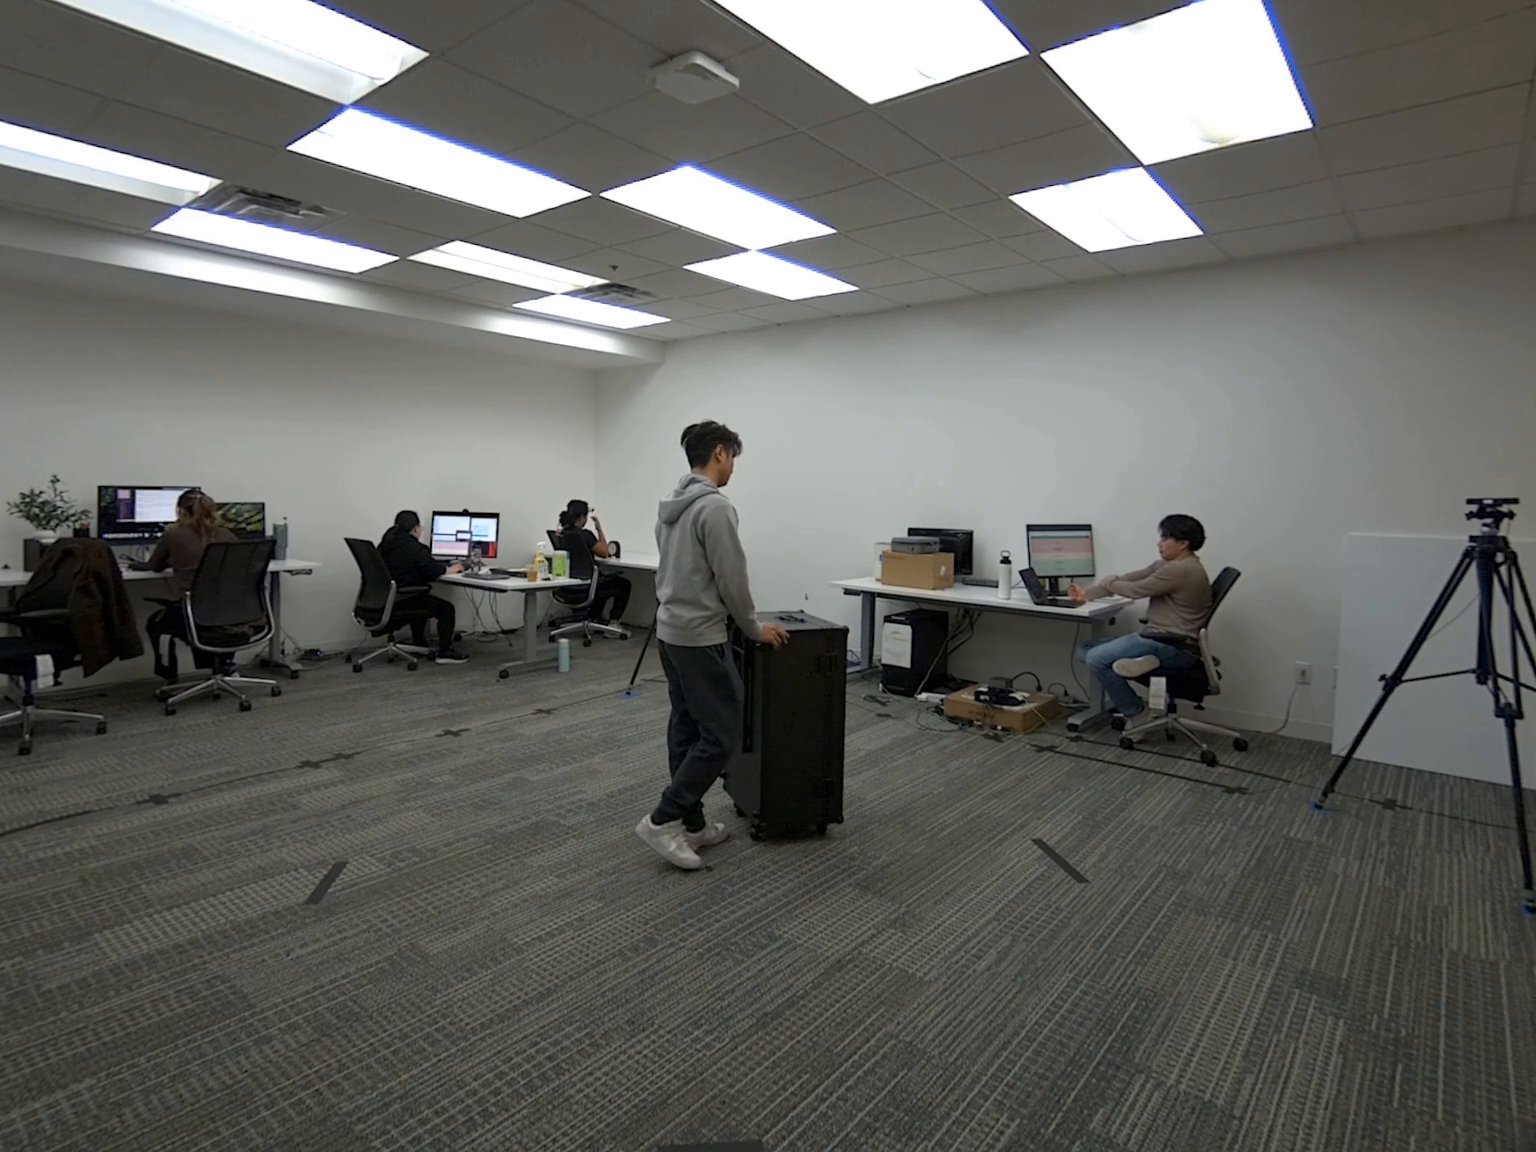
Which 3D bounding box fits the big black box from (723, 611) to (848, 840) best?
[{"bbox_3d":[0.048,0.544,3.549,0.388,0.859,0.534,1,4,-21],"label":"big black box"}]
